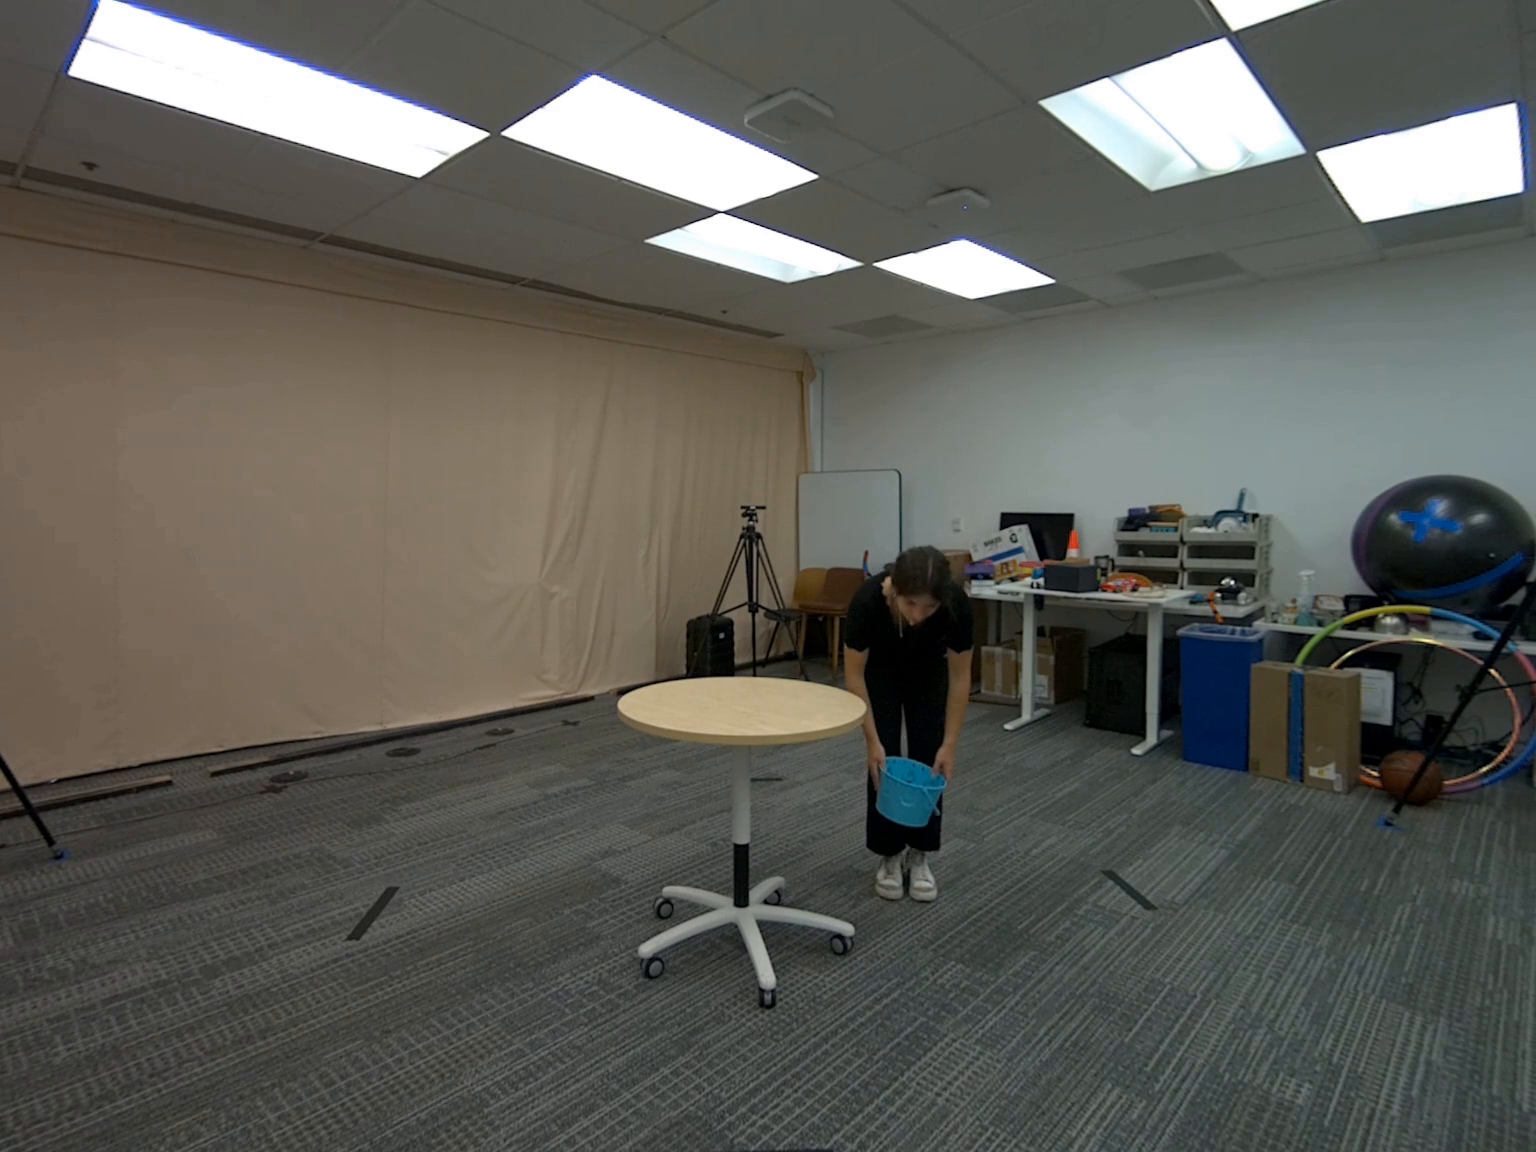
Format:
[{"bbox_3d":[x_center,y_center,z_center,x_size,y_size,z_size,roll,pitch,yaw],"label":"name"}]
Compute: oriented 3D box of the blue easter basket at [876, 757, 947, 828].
[{"bbox_3d":[0.496,0.742,2.895,0.243,0.155,0.245,10,10,-4],"label":"blue easter basket"}]
